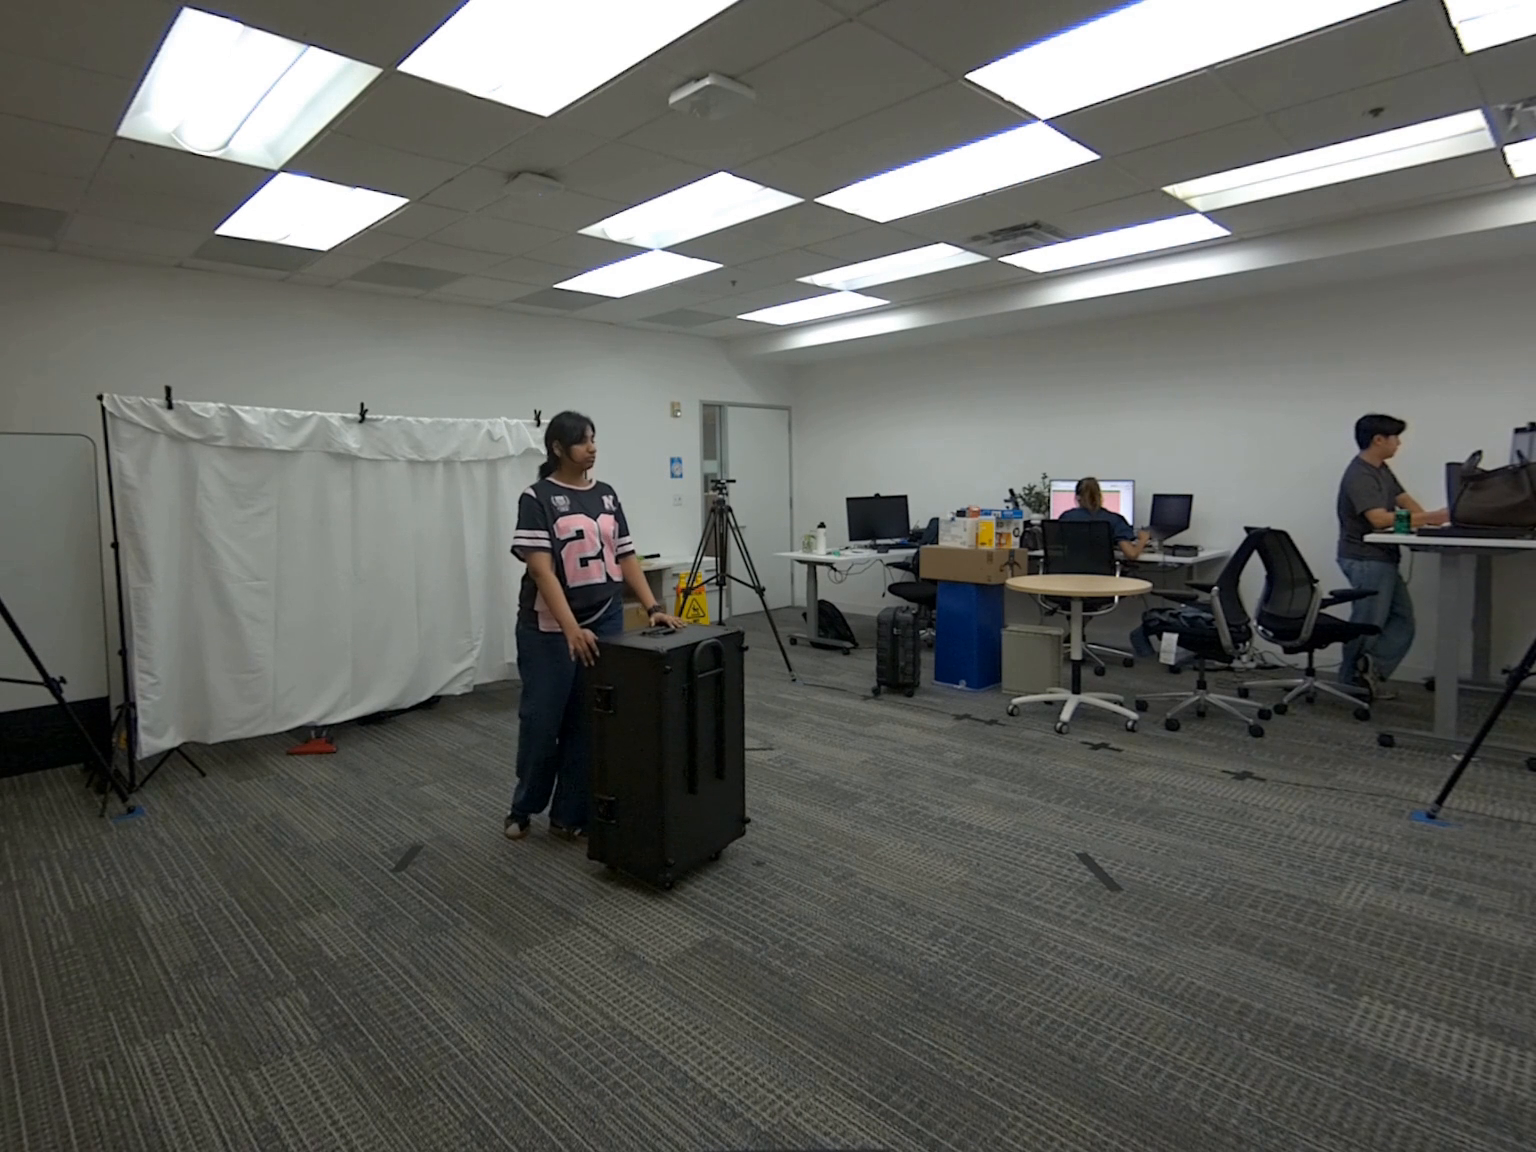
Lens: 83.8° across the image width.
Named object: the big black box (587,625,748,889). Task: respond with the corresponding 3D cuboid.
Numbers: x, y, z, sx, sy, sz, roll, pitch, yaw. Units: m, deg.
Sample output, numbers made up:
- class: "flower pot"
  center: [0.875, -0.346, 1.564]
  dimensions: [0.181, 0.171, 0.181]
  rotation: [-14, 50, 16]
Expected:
- class: "big black box"
  center: [-0.353, 0.636, 3.087]
  dimensions: [0.396, 0.865, 0.511]
  rotation: [3, 6, 33]
